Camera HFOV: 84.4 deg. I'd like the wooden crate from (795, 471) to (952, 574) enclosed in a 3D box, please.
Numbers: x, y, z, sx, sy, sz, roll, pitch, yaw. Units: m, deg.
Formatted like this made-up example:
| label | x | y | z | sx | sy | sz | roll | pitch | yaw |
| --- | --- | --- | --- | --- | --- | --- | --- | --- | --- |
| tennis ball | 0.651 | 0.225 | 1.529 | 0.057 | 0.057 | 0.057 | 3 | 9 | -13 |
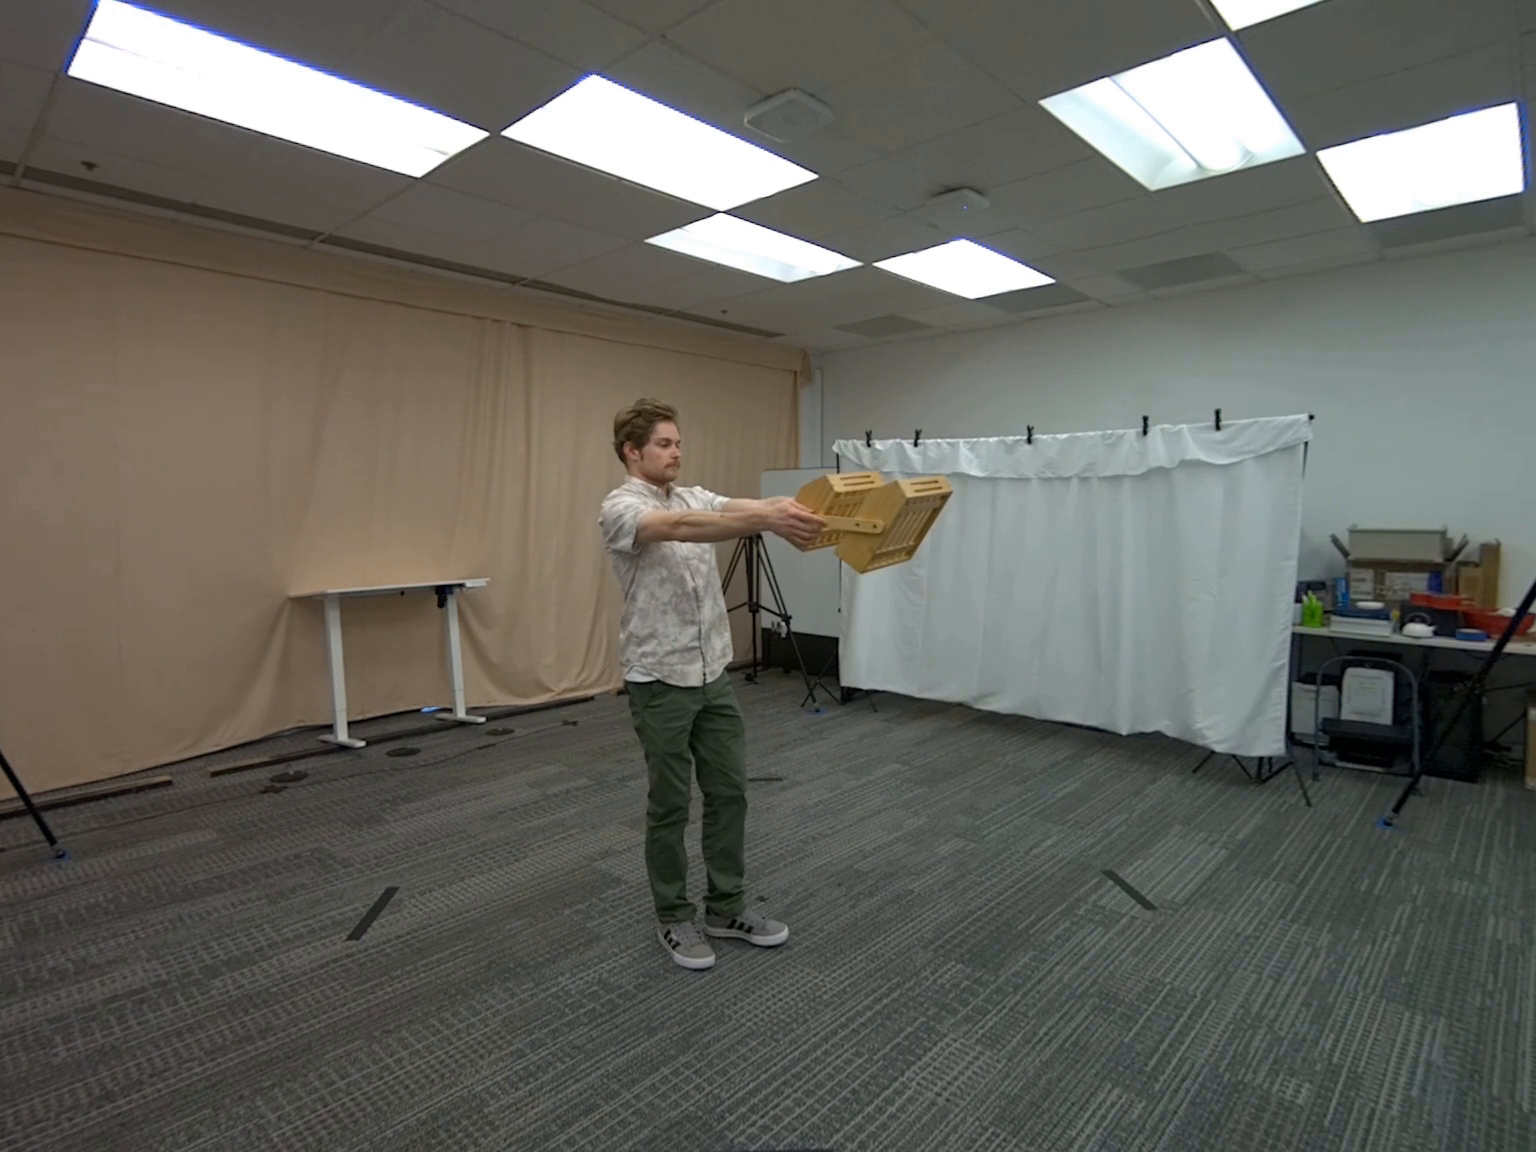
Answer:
| label | x | y | z | sx | sy | sz | roll | pitch | yaw |
| --- | --- | --- | --- | --- | --- | --- | --- | --- | --- |
| wooden crate | 0.267 | -0.184 | 2.234 | 0.281 | 0.301 | 0.316 | 39 | 26 | 24 |
